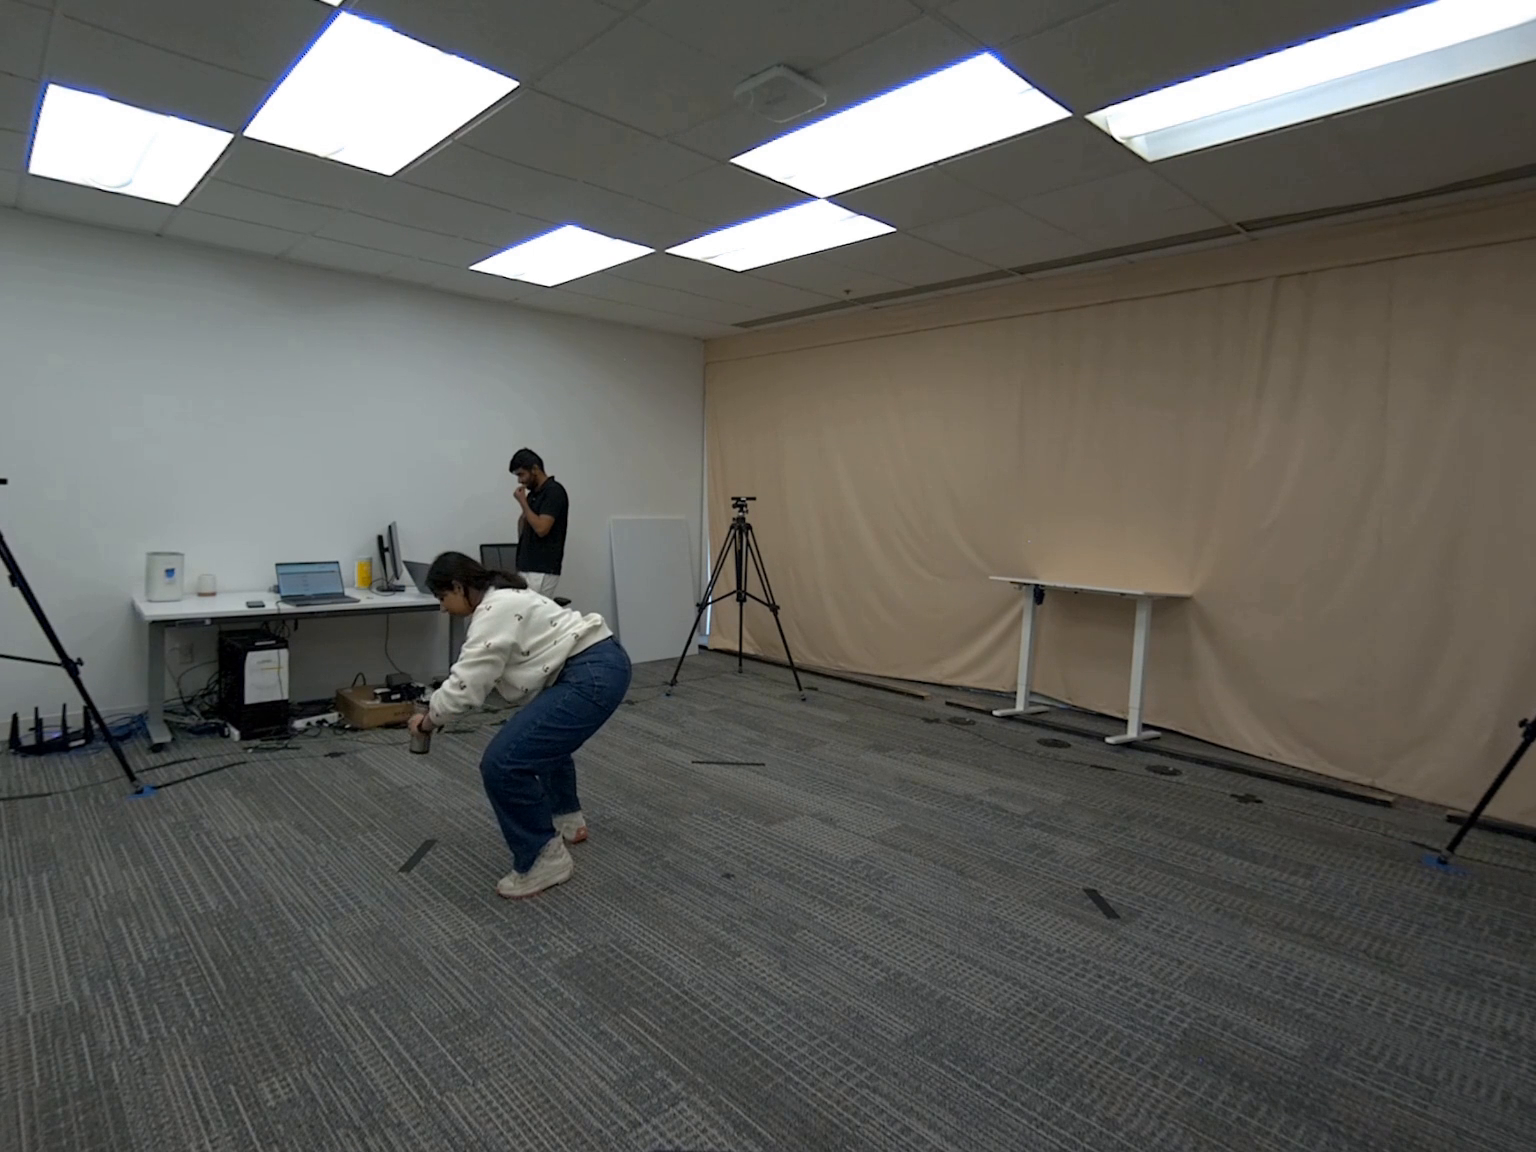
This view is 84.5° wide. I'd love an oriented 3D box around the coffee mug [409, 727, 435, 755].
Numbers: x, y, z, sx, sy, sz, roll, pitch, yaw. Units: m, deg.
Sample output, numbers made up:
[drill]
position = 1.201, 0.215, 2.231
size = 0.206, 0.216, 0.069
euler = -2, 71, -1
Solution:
[coffee mug]
position = -1.298, 0.558, 3.180
size = 0.085, 0.202, 0.126
euler = 10, 10, -40
